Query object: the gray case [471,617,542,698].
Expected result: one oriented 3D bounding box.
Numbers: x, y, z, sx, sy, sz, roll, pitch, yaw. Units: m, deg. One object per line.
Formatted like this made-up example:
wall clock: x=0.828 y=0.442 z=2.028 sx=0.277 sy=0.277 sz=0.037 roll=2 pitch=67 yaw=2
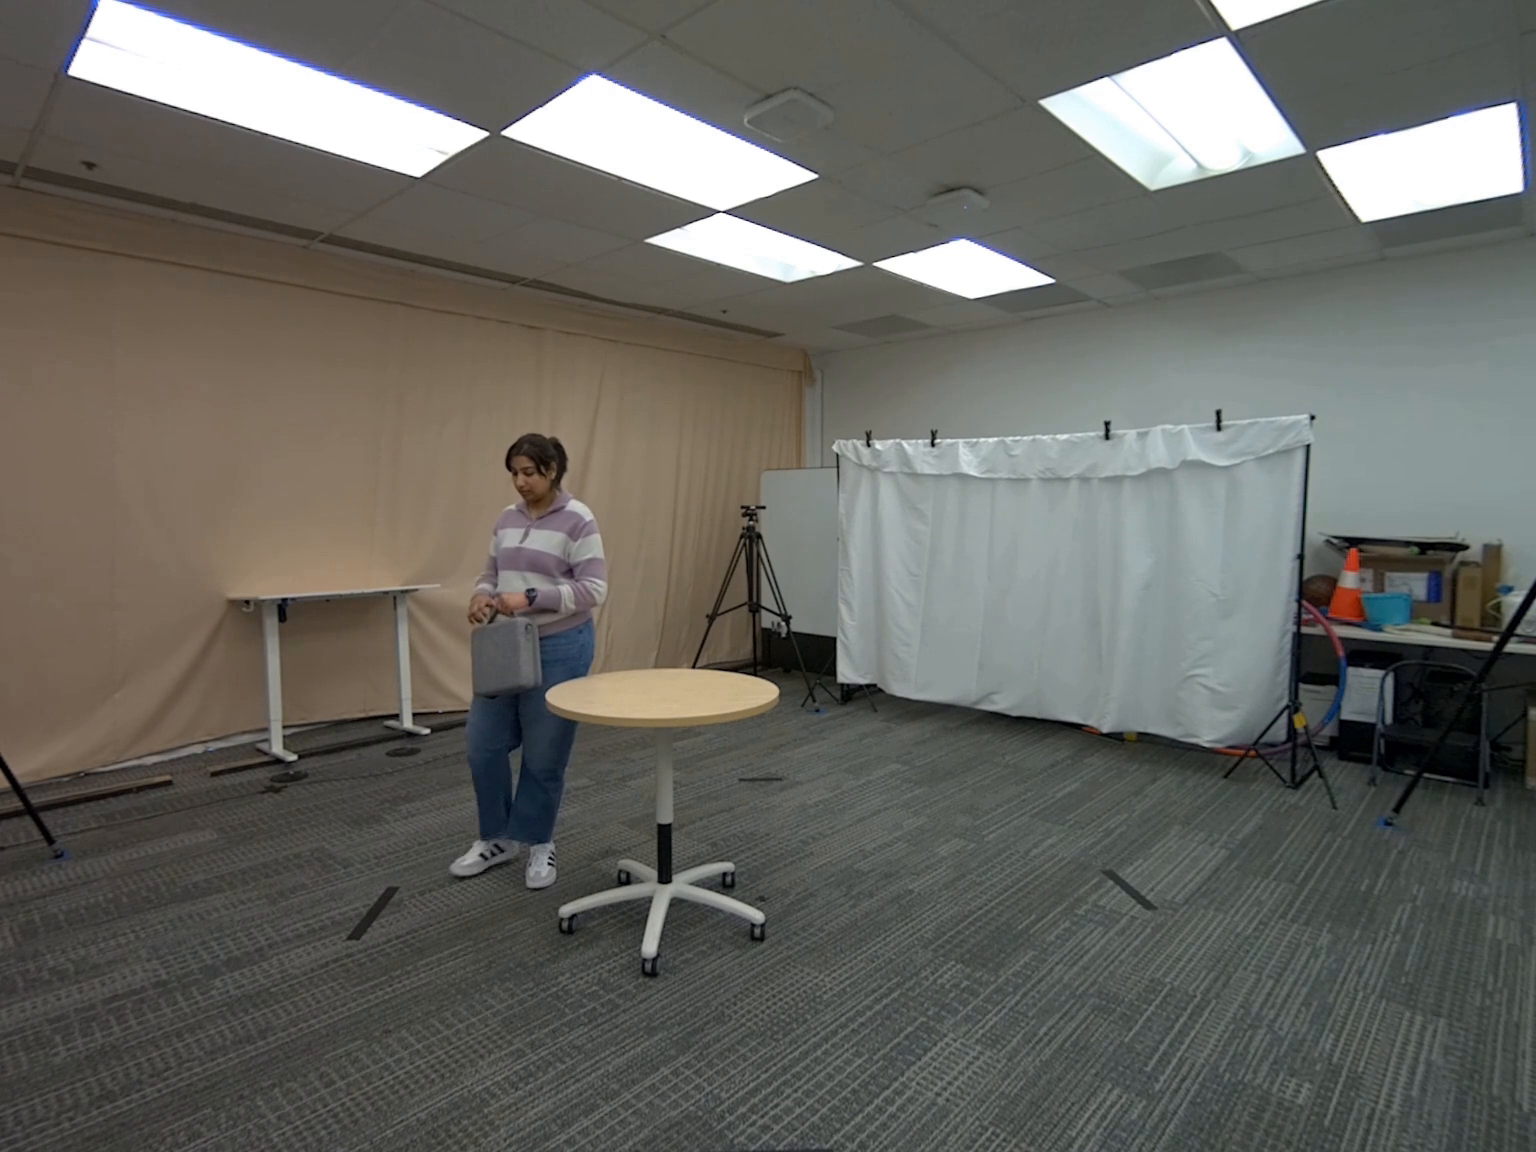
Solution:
gray case: x=-0.912 y=0.278 z=2.946 sx=0.263 sy=0.263 sz=0.101 roll=-14 pitch=-15 yaw=30
